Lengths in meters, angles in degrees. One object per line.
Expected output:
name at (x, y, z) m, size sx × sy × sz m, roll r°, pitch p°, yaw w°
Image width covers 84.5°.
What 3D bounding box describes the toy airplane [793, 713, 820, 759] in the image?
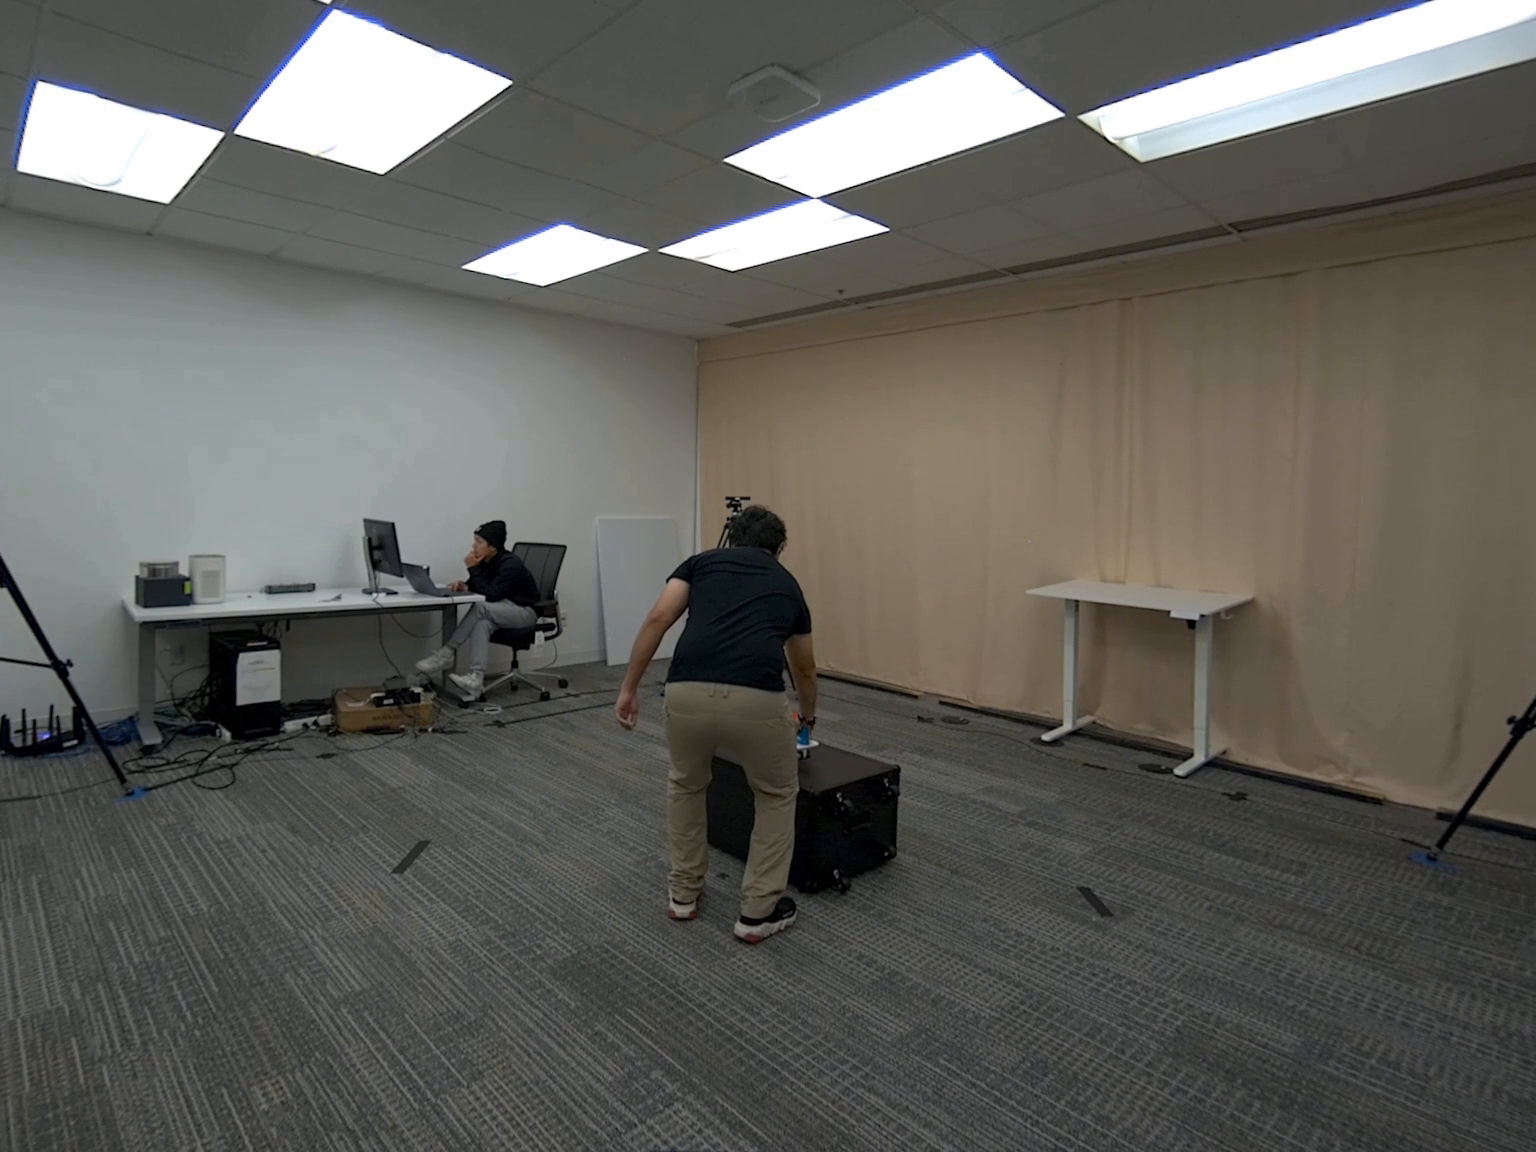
toy airplane at (0.081, 0.634, 3.319) m, size 0.264 × 0.157 × 0.246 m, roll -5°, pitch -1°, yaw 26°
